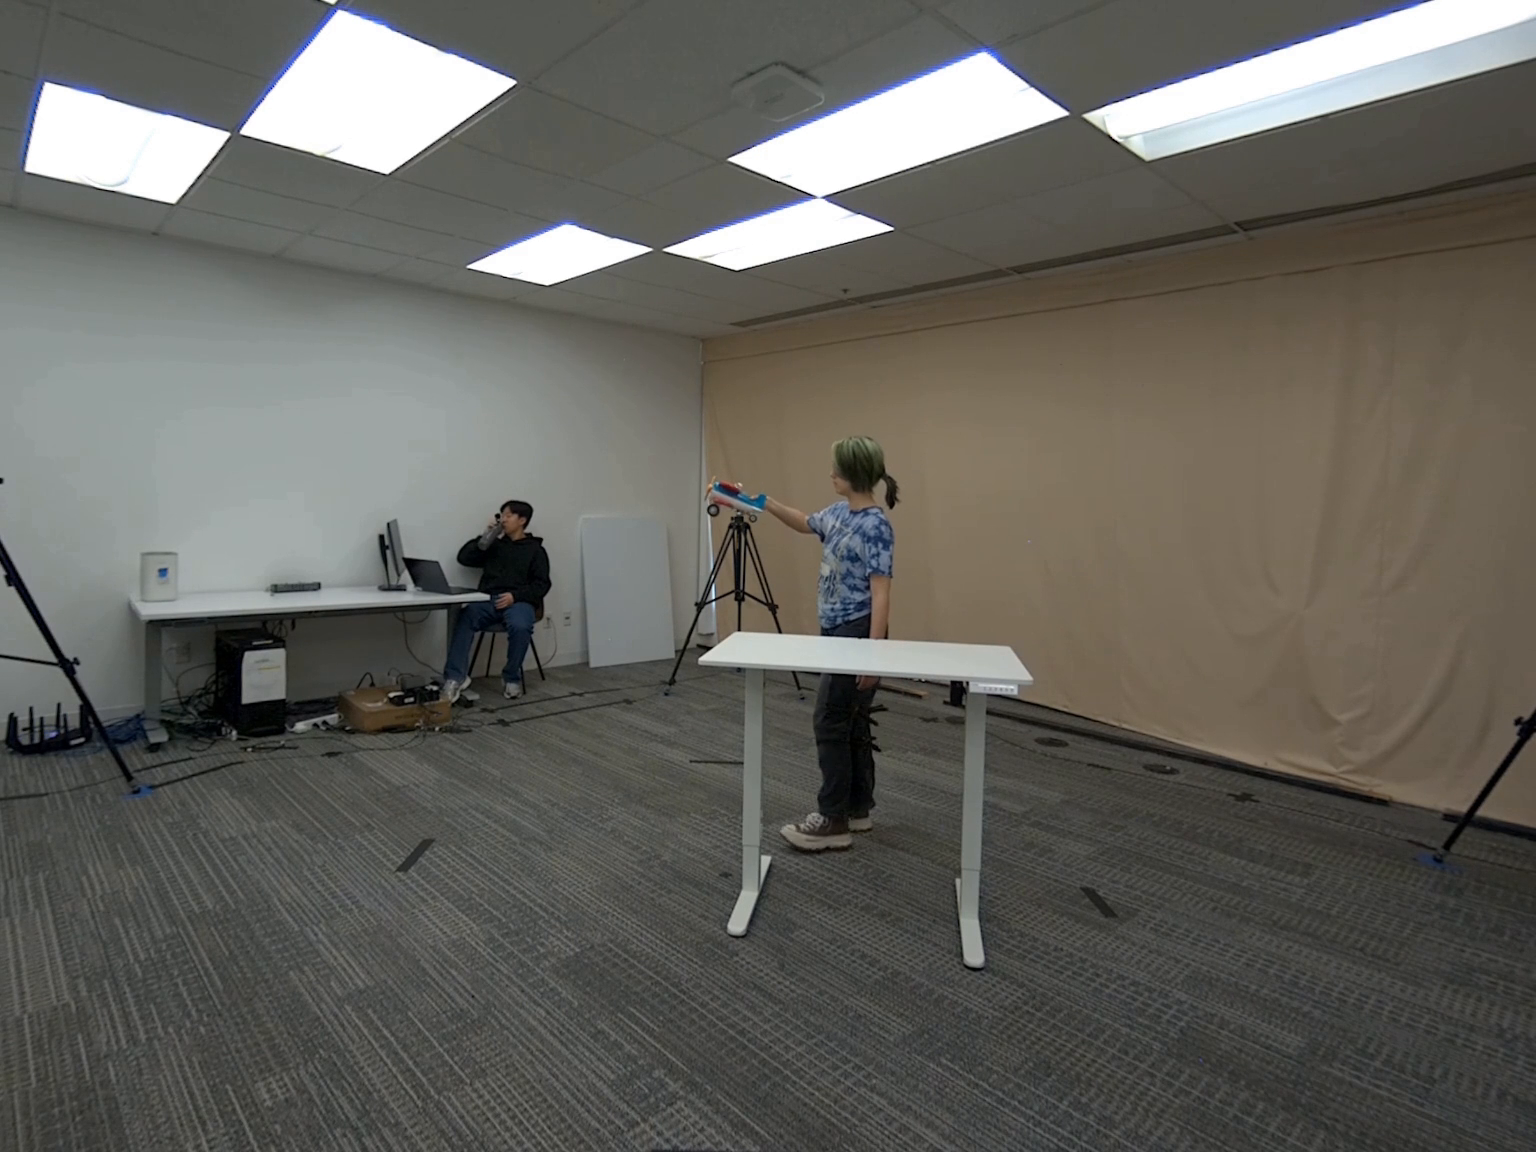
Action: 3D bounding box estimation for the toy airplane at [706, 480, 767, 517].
[{"bbox_3d":[-0.155,-0.324,3.672,0.253,0.156,0.257,8,3,-28],"label":"toy airplane"}]
